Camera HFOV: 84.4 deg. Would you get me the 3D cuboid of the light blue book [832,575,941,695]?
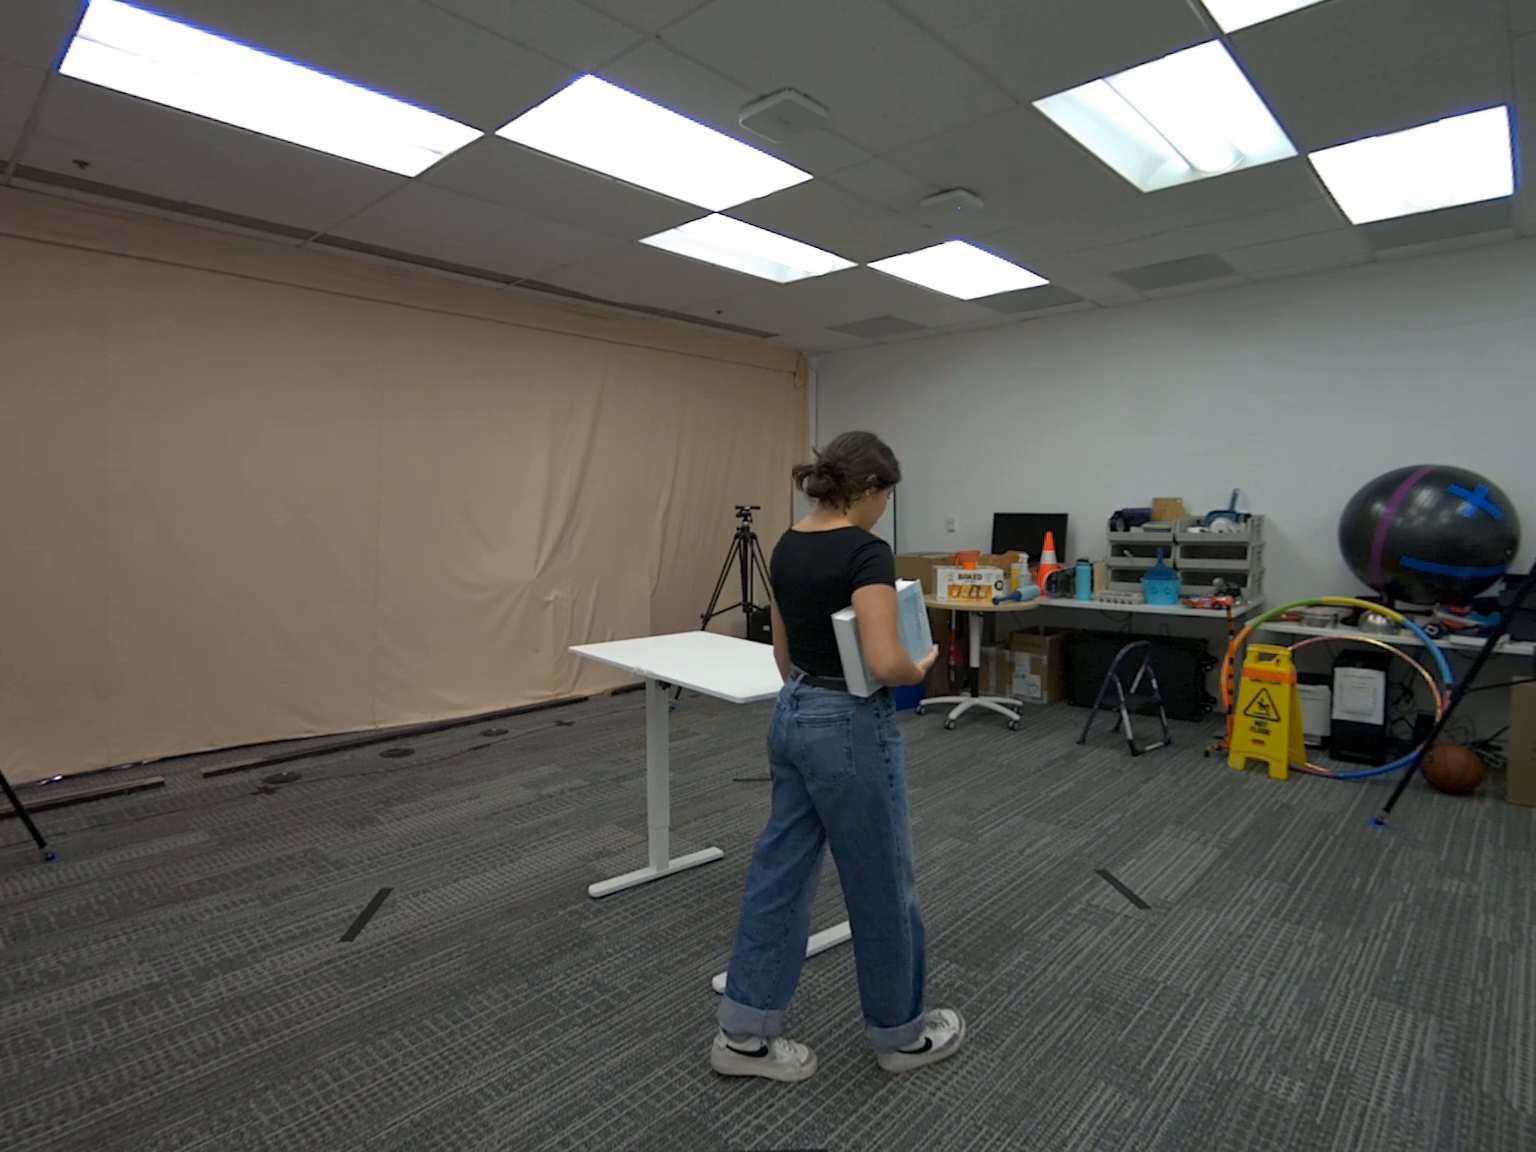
[{"bbox_3d":[0.270,0.129,1.945,0.255,0.190,0.061,-22,11,-36],"label":"light blue book"}]
